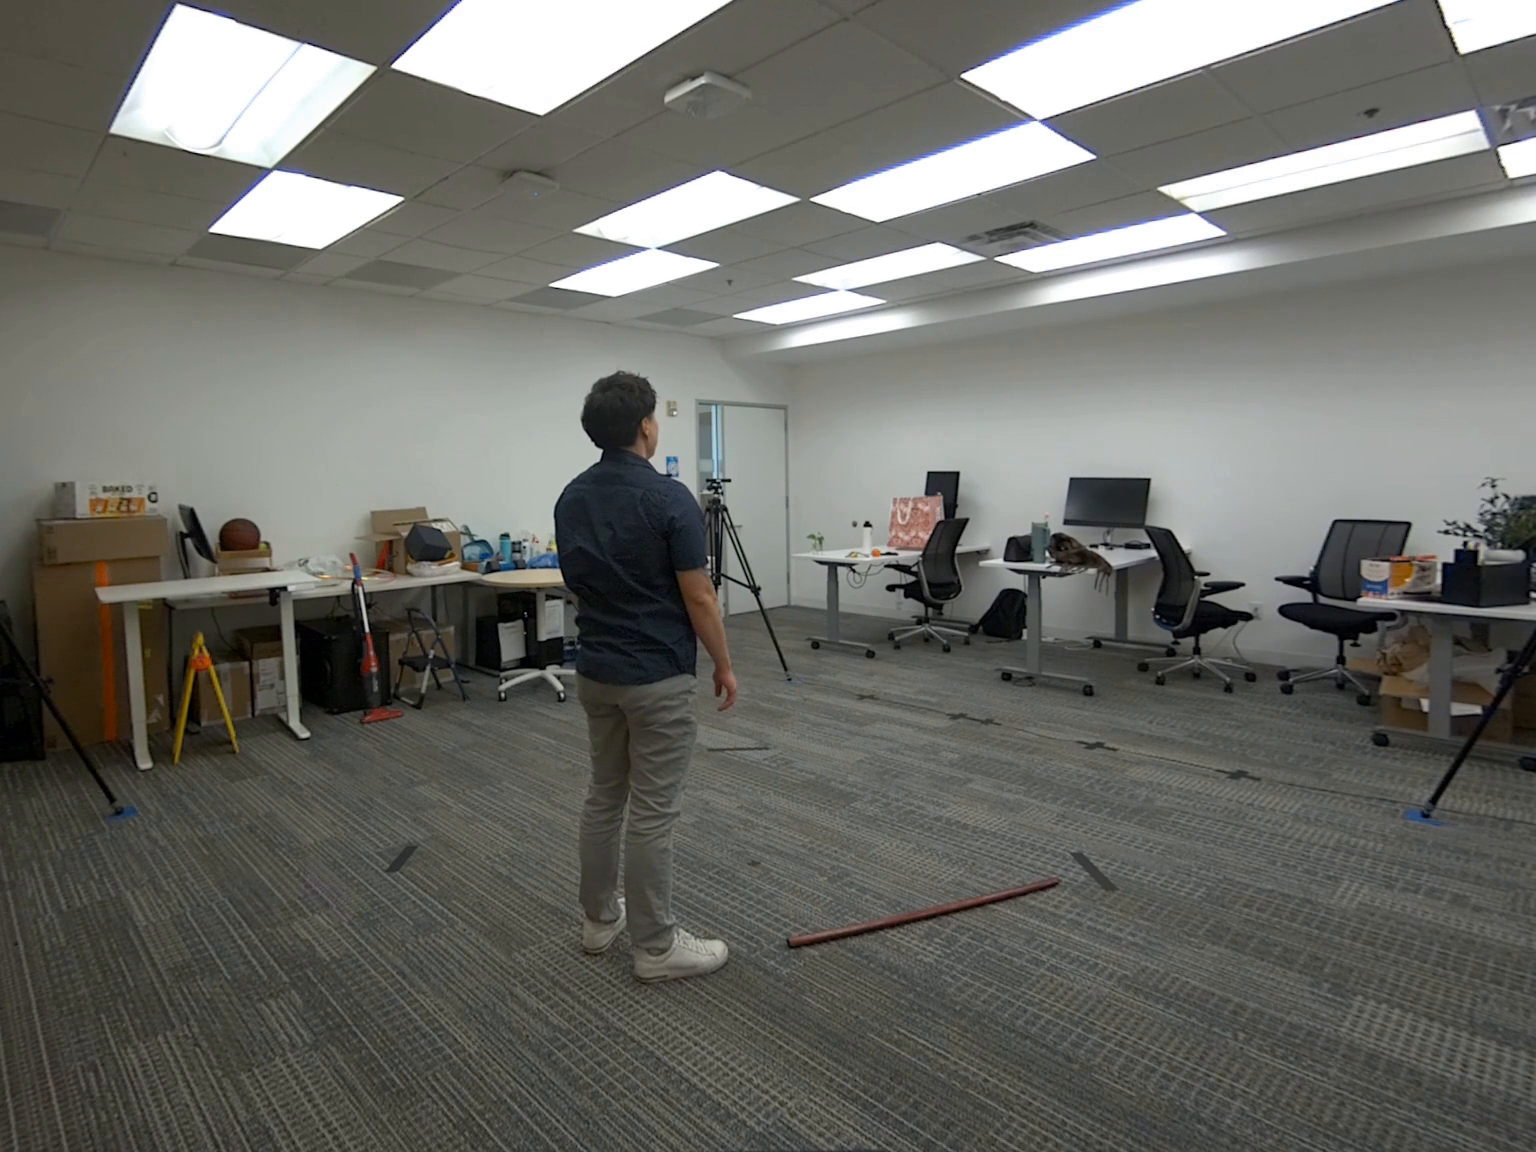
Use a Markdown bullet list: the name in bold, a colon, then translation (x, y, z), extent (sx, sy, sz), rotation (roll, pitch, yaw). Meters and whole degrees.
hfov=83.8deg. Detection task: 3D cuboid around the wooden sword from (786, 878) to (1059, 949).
- **wooden sword**: translation (0.522, 1.062, 2.730), extent (1.006, 0.024, 0.052), rotation (-4, -8, -21)
